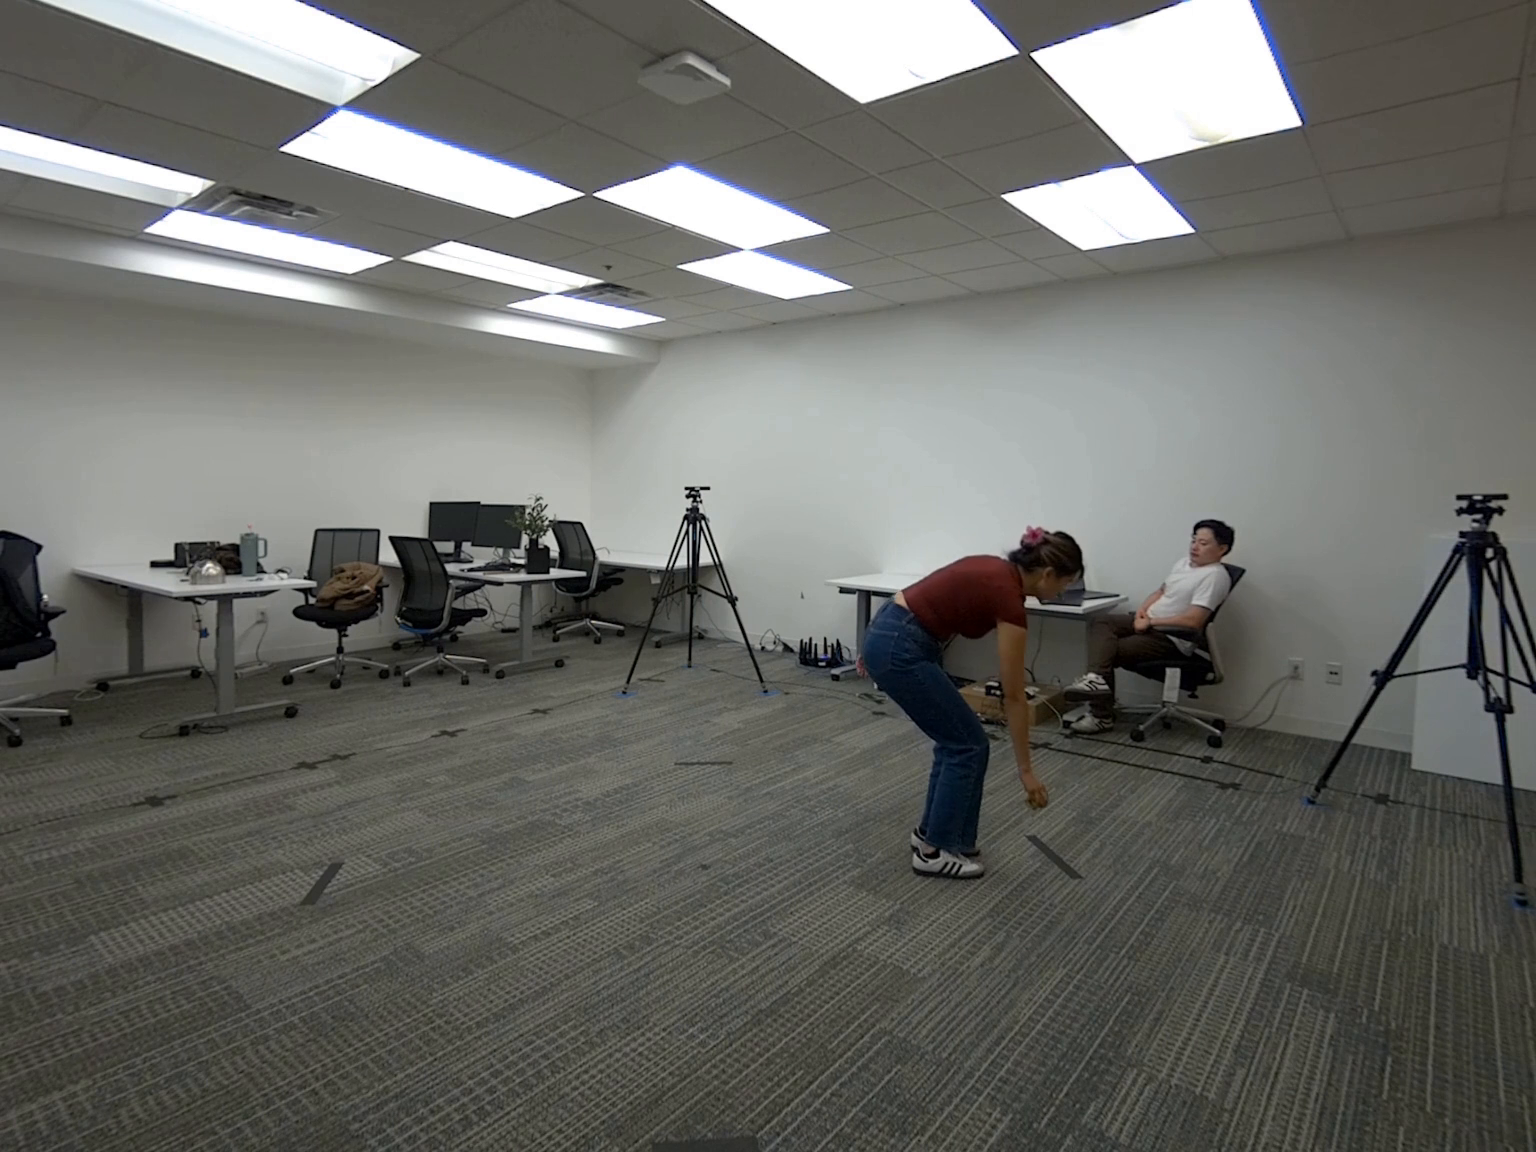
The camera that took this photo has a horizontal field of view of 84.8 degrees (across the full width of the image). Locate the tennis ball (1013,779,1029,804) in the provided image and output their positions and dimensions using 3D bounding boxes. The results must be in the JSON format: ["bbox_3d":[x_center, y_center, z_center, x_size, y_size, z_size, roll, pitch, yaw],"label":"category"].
[{"bbox_3d":[0.934,0.779,3.046,0.066,0.066,0.067,1,4,-2],"label":"tennis ball"}]
